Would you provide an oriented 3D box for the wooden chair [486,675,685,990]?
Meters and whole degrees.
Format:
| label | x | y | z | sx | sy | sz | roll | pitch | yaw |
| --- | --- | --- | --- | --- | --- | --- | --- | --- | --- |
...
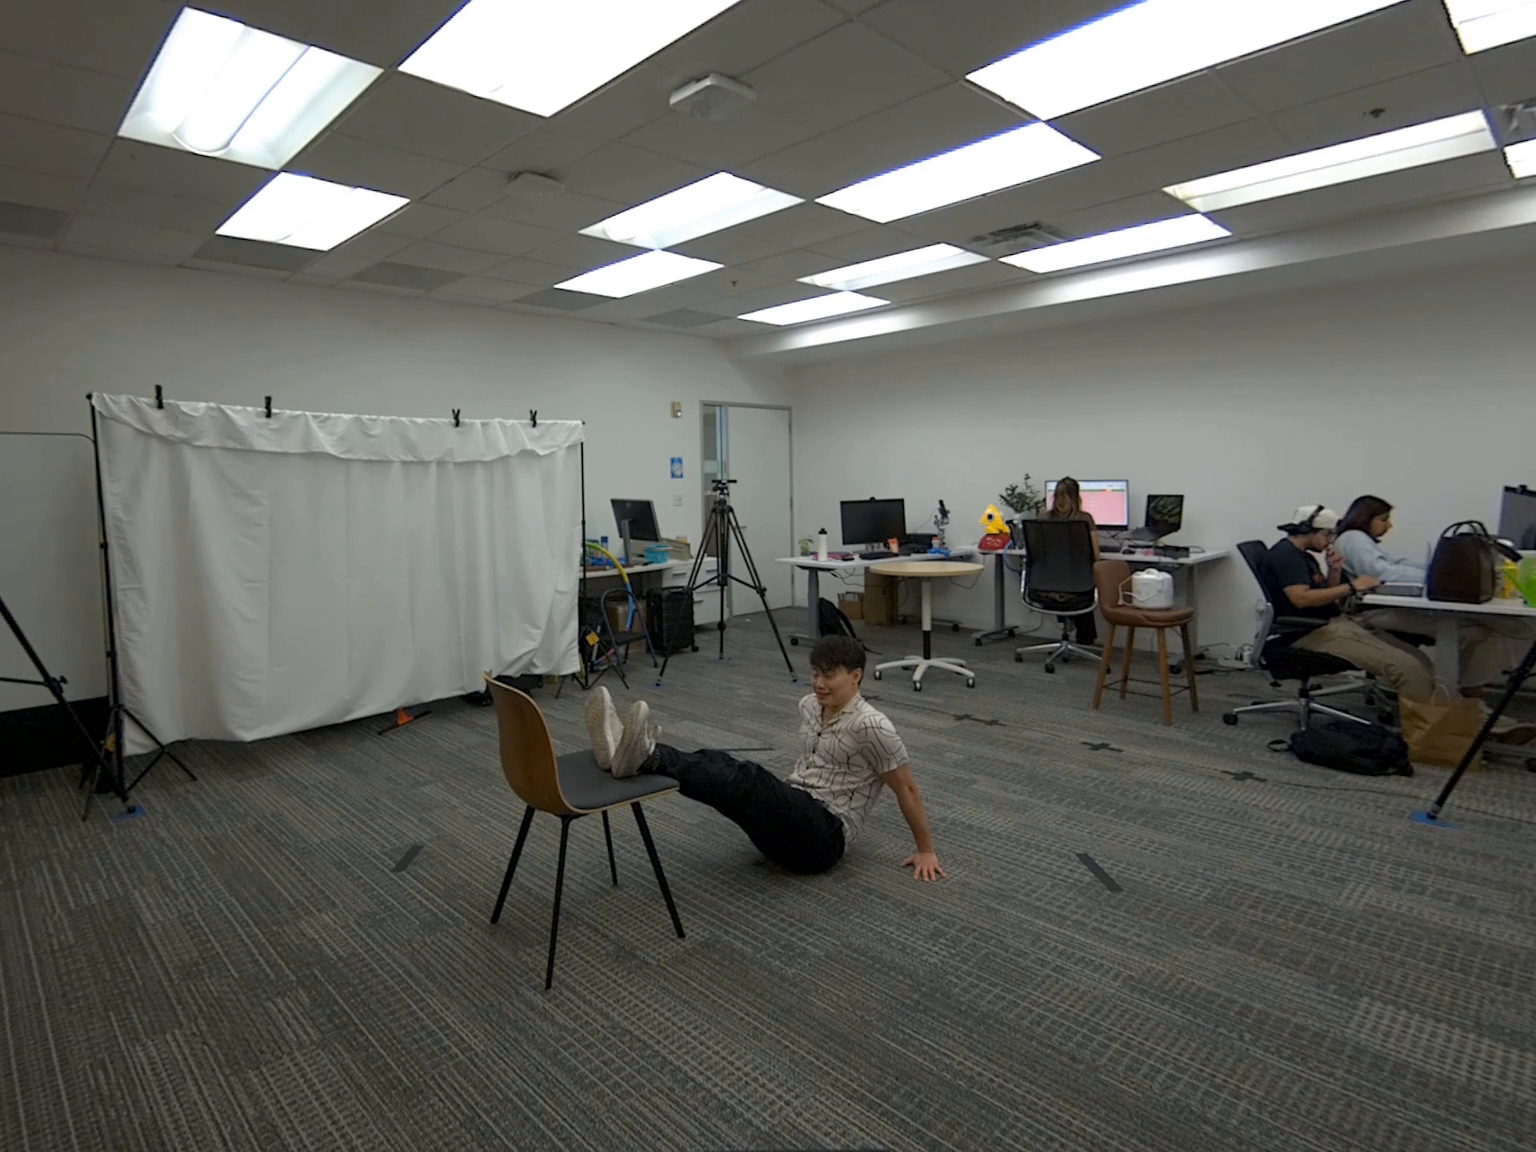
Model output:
| label | x | y | z | sx | sy | sz | roll | pitch | yaw |
| --- | --- | --- | --- | --- | --- | --- | --- | --- | --- |
| wooden chair | -0.567 | 0.685 | 2.644 | 0.511 | 0.872 | 0.492 | -9 | 8 | -36 |
